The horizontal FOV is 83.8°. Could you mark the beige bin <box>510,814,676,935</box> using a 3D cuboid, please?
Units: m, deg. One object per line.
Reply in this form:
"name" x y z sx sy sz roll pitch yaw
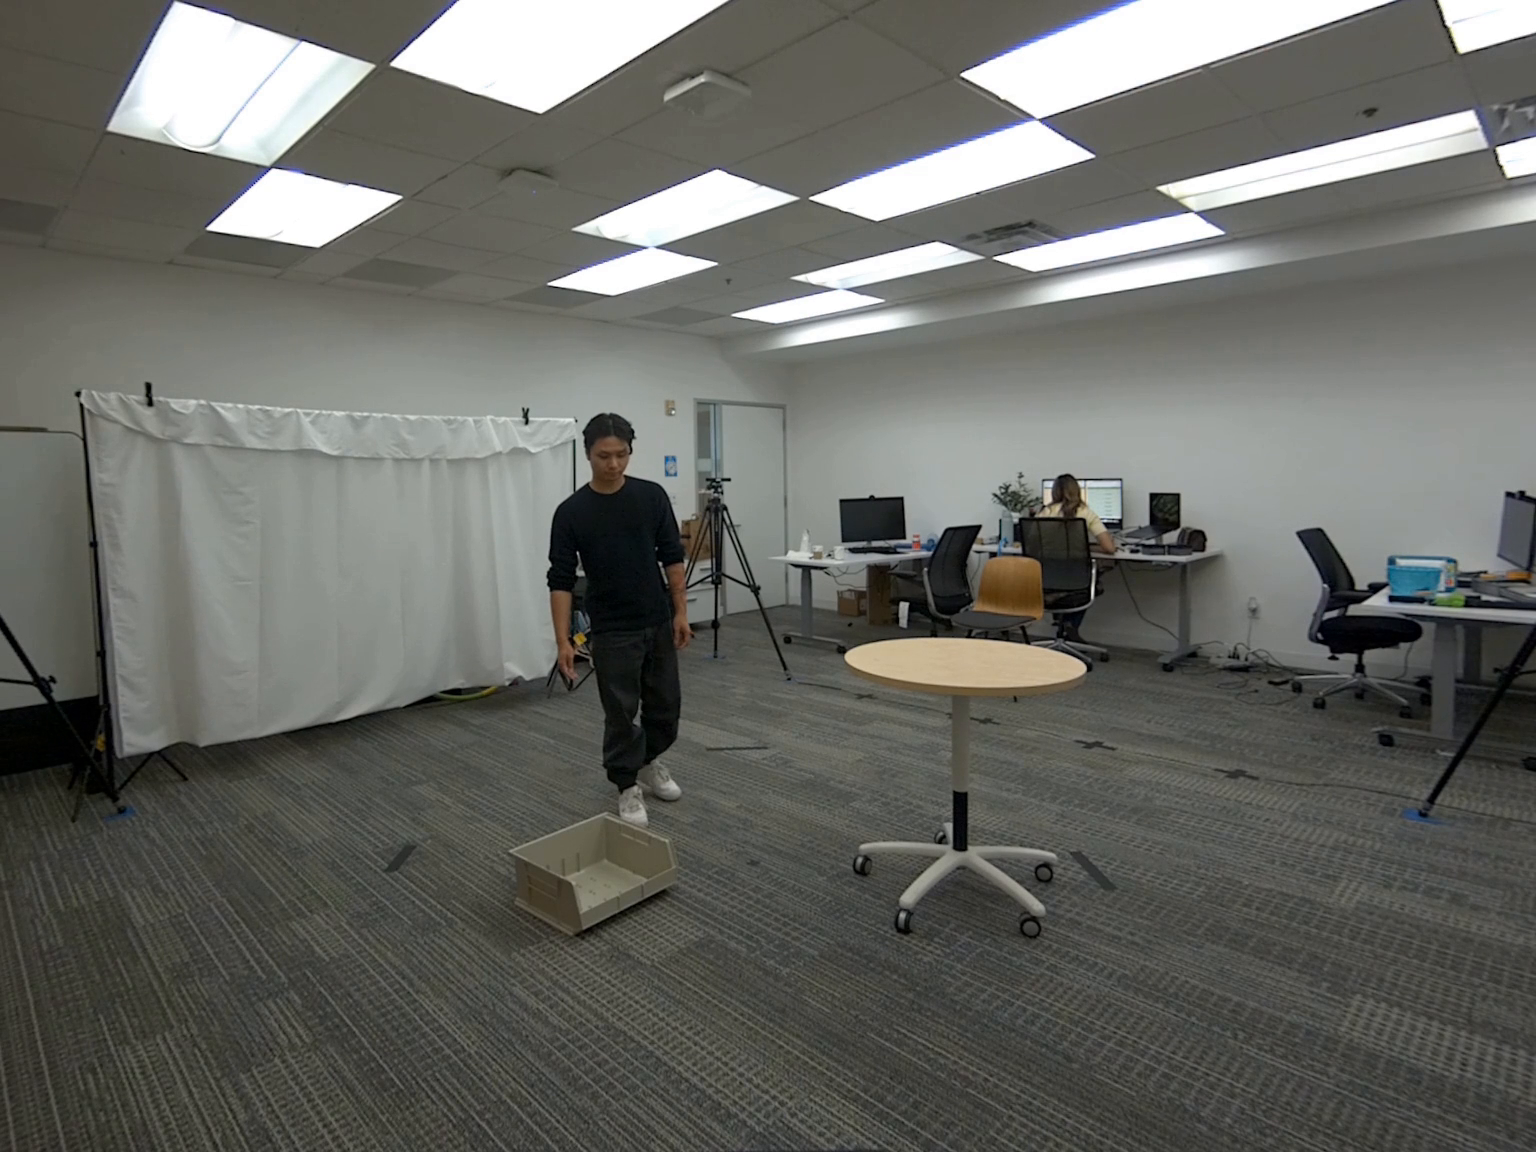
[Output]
"beige bin" -0.583 0.993 2.866 0.389 0.188 0.412 3 8 40
